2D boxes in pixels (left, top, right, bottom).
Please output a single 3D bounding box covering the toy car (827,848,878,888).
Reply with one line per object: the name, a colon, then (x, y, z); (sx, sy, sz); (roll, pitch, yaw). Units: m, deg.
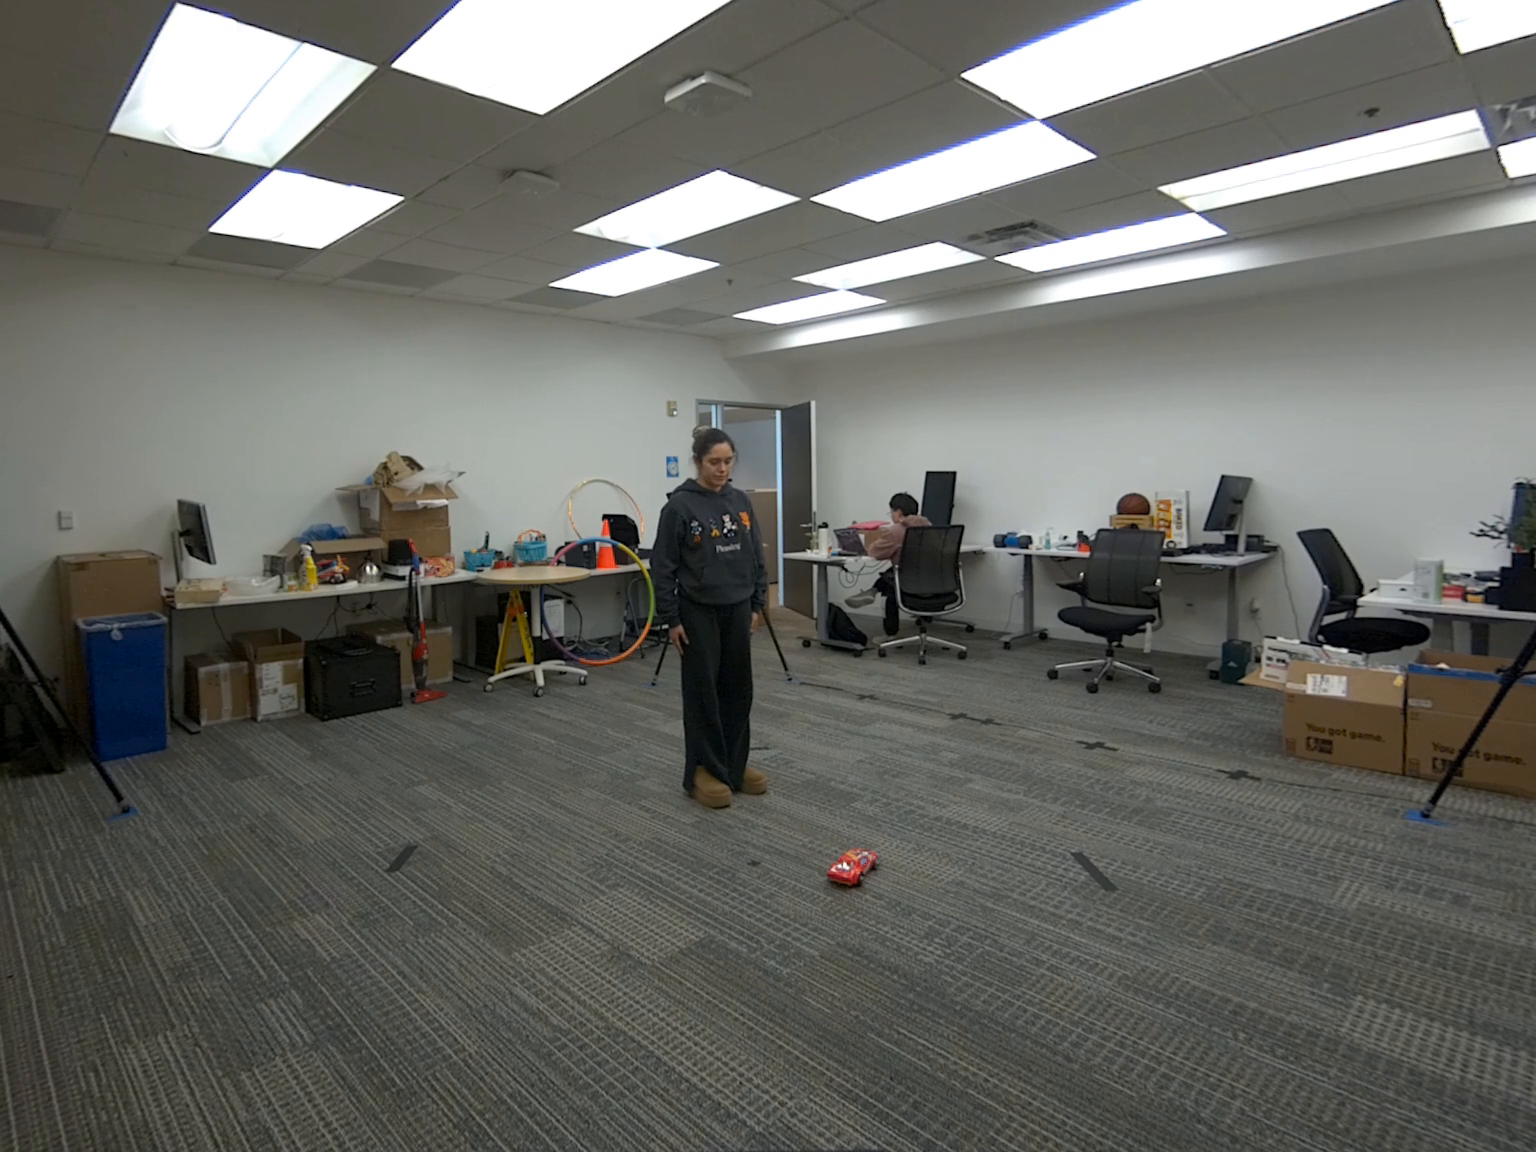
toy car: (0.297, 1.023, 2.979); (0.134, 0.083, 0.247); (3, -3, 31)
